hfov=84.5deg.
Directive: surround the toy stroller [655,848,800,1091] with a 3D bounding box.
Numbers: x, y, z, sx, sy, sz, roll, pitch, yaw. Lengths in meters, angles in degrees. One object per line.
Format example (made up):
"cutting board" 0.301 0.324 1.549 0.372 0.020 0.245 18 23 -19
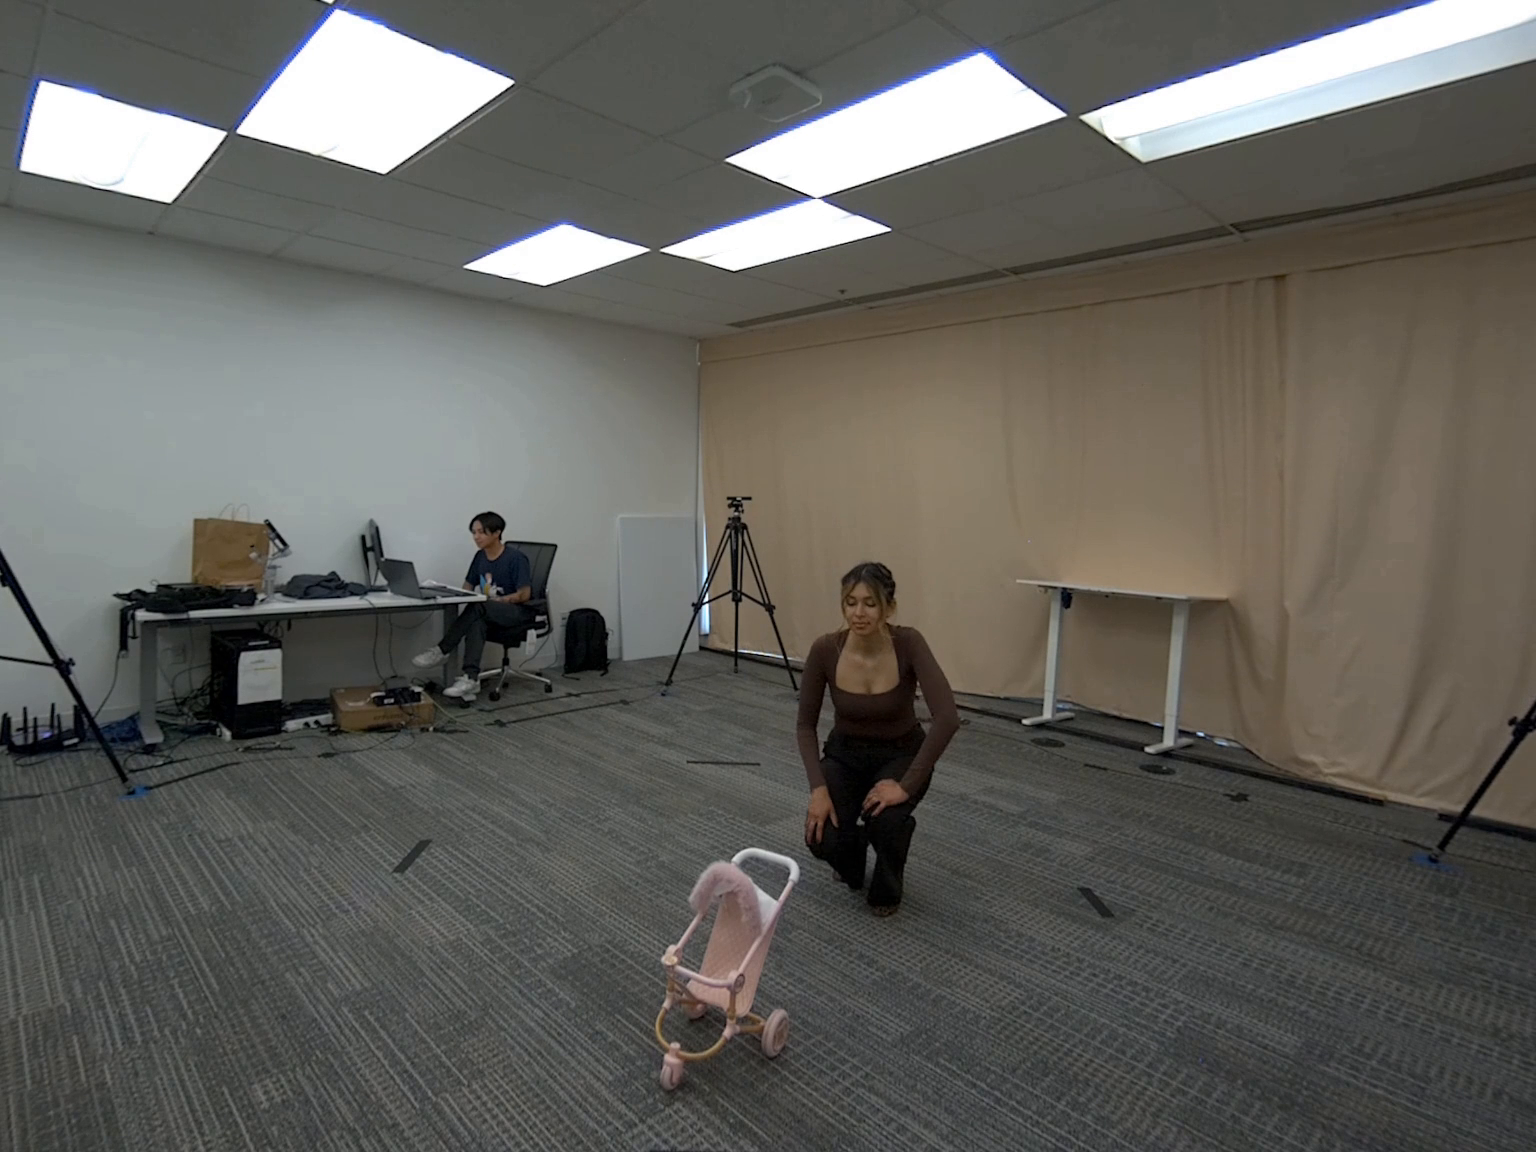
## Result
"toy stroller" -0.121 0.976 2.120 0.288 0.538 0.331 3 -13 38
